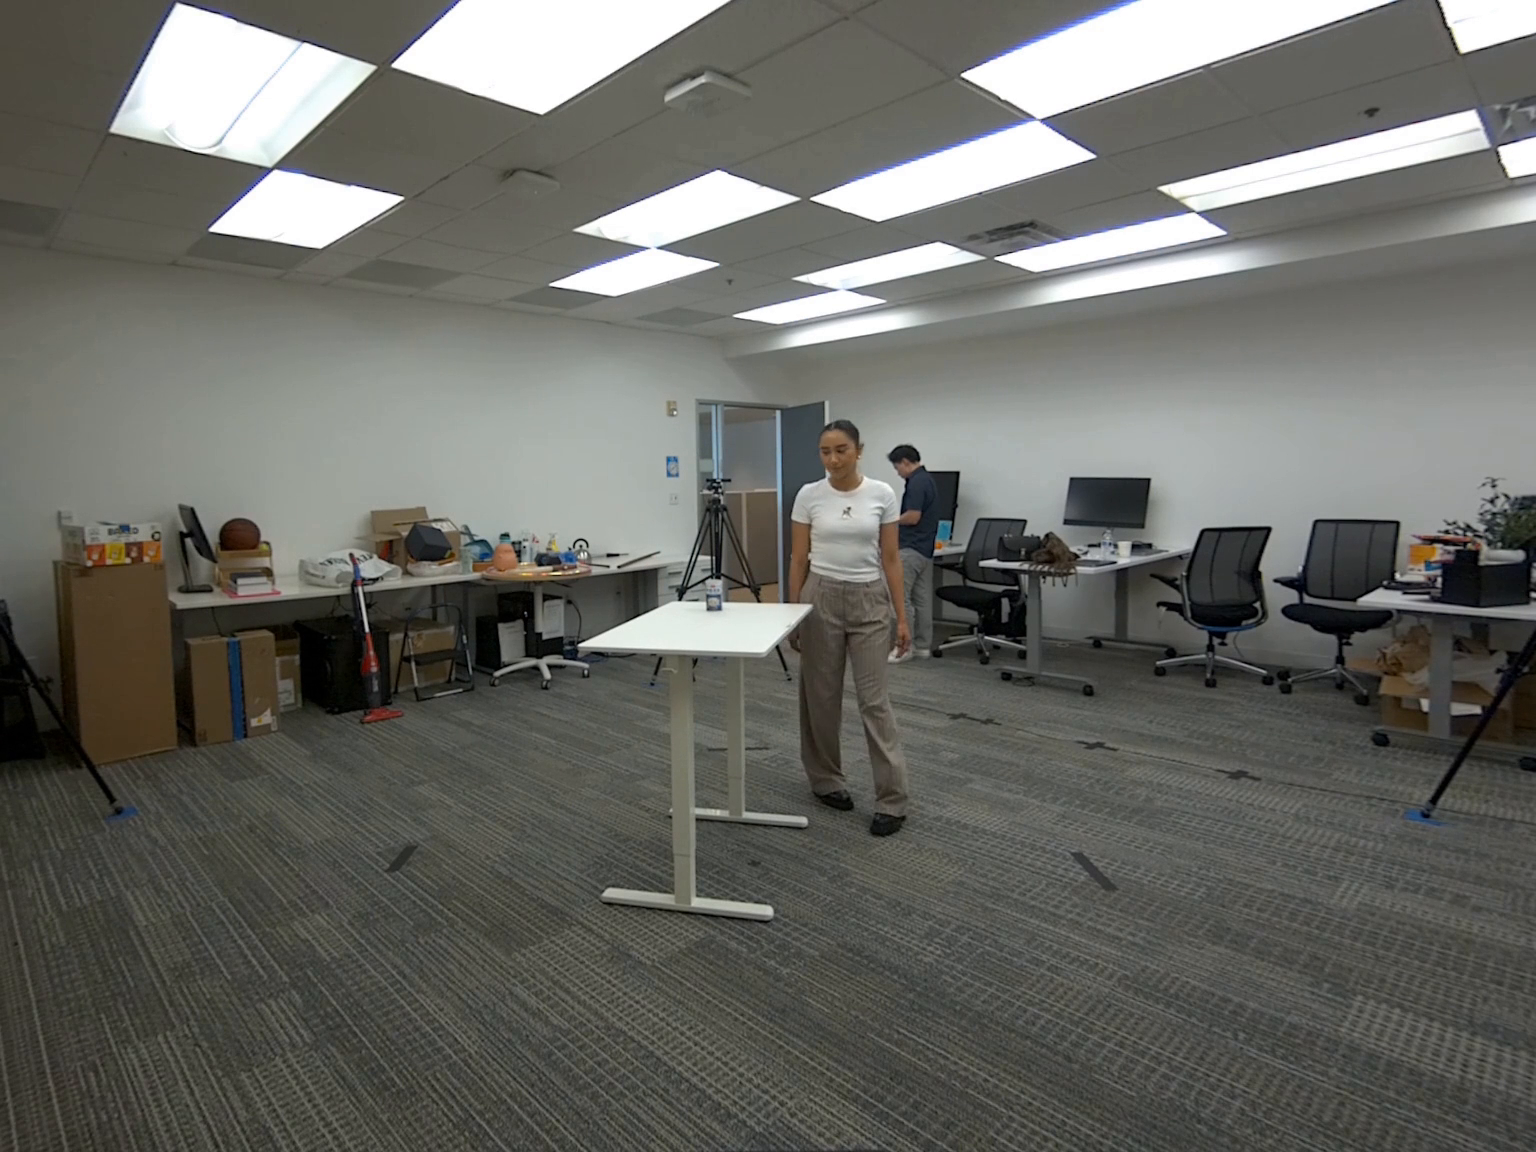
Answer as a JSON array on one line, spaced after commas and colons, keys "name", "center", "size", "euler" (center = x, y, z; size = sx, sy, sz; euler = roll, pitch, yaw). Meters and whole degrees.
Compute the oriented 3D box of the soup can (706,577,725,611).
[{"name": "soup can", "center": [-0.213, 0.079, 3.375], "size": [0.067, 0.121, 0.067], "euler": [-2, 6, -1]}]
